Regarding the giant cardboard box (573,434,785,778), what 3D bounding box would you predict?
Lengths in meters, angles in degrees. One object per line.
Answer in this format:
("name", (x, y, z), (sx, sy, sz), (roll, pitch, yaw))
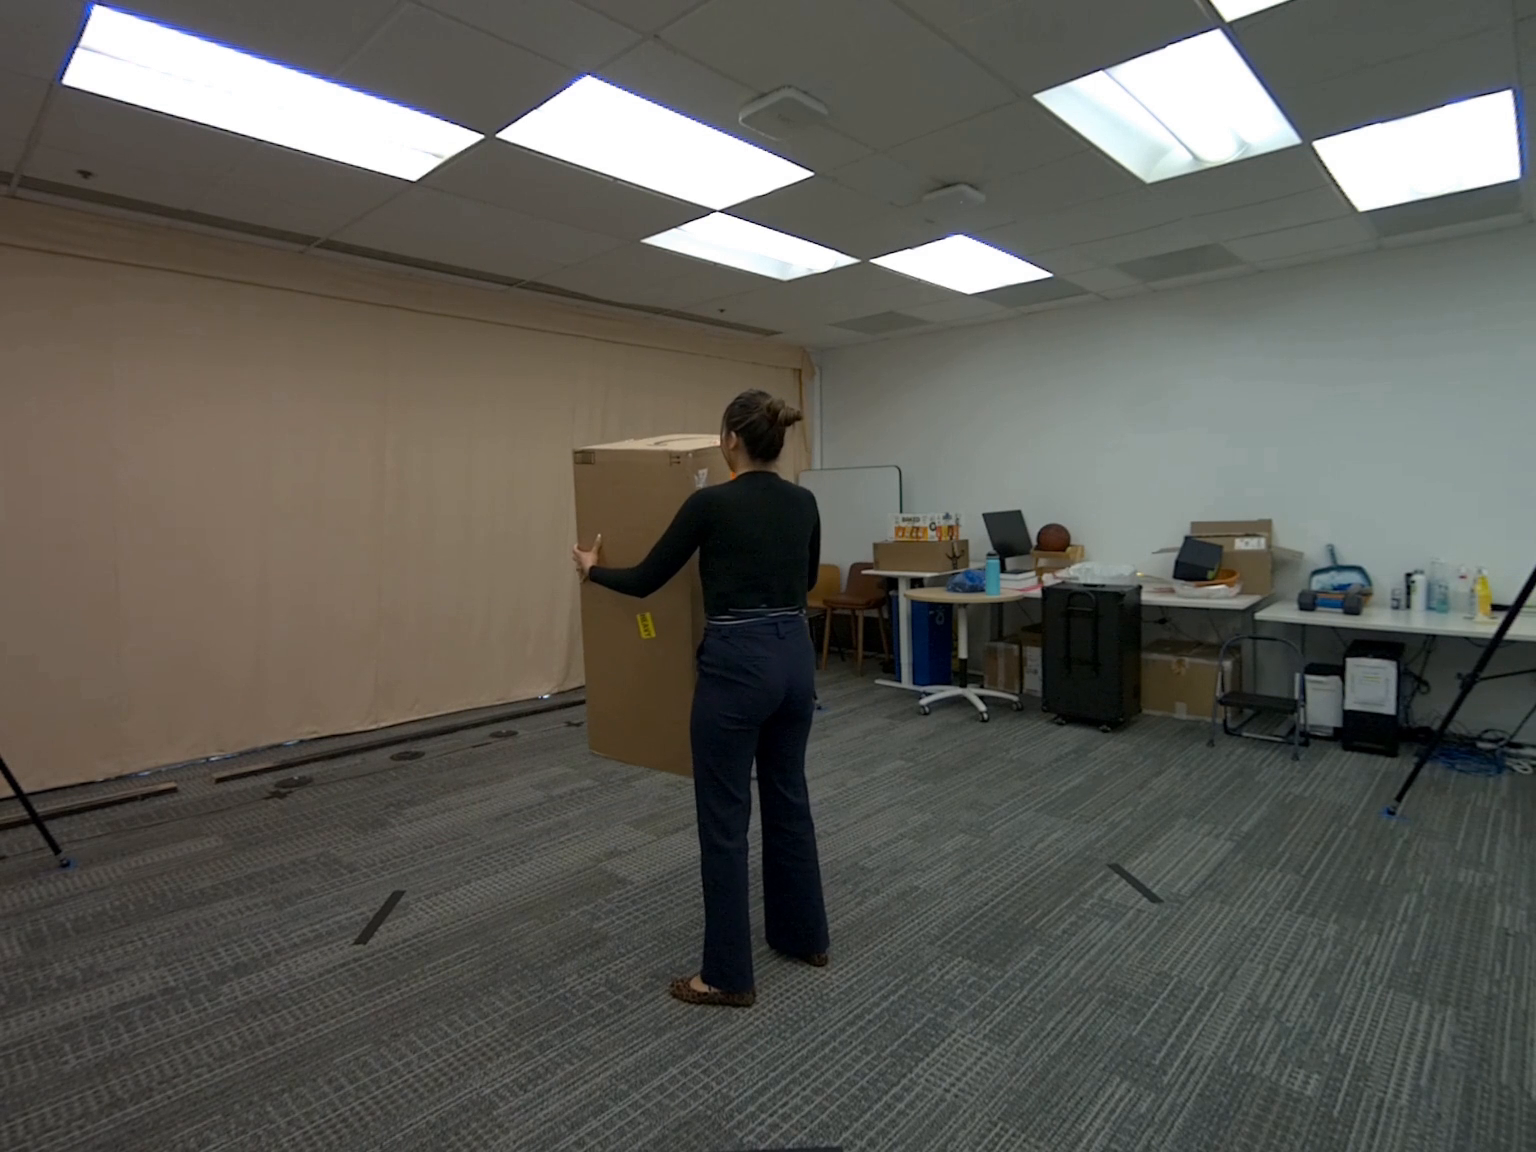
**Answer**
("giant cardboard box", (-0.294, 0.058, 2.864), (0.438, 1.018, 0.566), (5, 13, 27))
